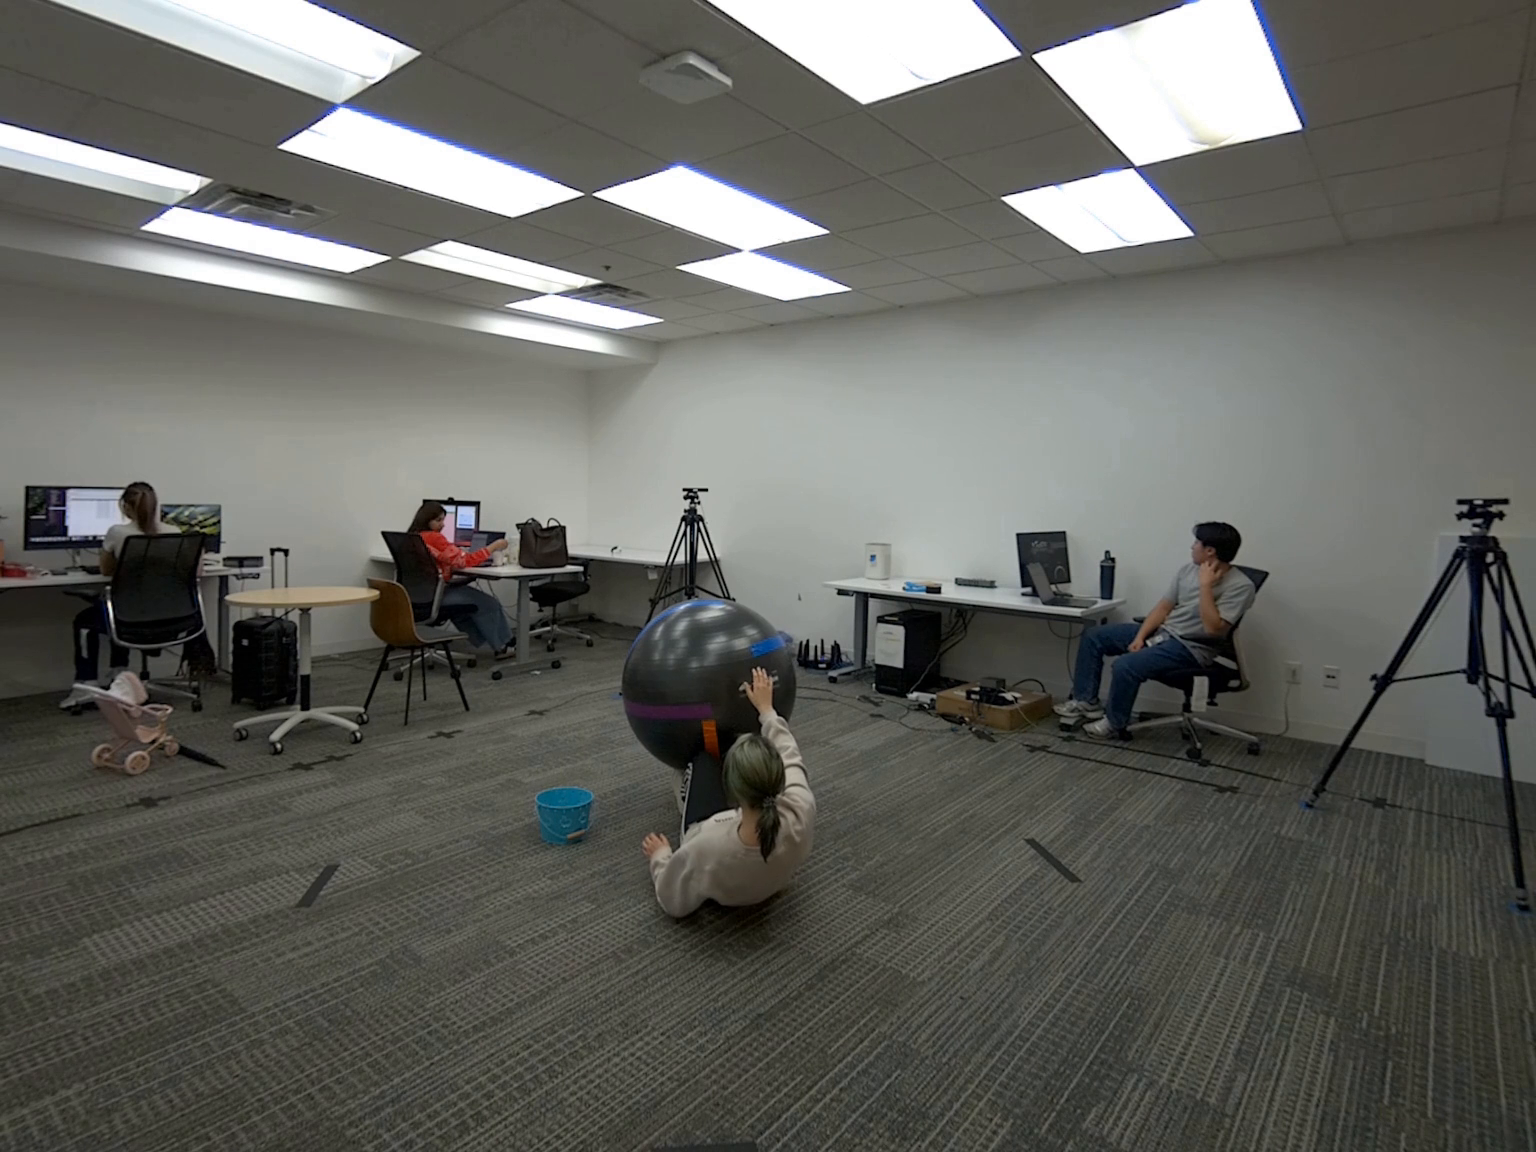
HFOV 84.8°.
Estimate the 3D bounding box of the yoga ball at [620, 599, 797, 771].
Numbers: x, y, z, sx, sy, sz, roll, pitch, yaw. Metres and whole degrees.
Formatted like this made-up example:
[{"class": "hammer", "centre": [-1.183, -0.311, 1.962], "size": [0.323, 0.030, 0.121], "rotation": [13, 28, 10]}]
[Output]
[{"class": "yoga ball", "centre": [-0.273, 0.473, 3.704], "size": [0.757, 0.756, 0.761], "rotation": [1, 4, -2]}]
